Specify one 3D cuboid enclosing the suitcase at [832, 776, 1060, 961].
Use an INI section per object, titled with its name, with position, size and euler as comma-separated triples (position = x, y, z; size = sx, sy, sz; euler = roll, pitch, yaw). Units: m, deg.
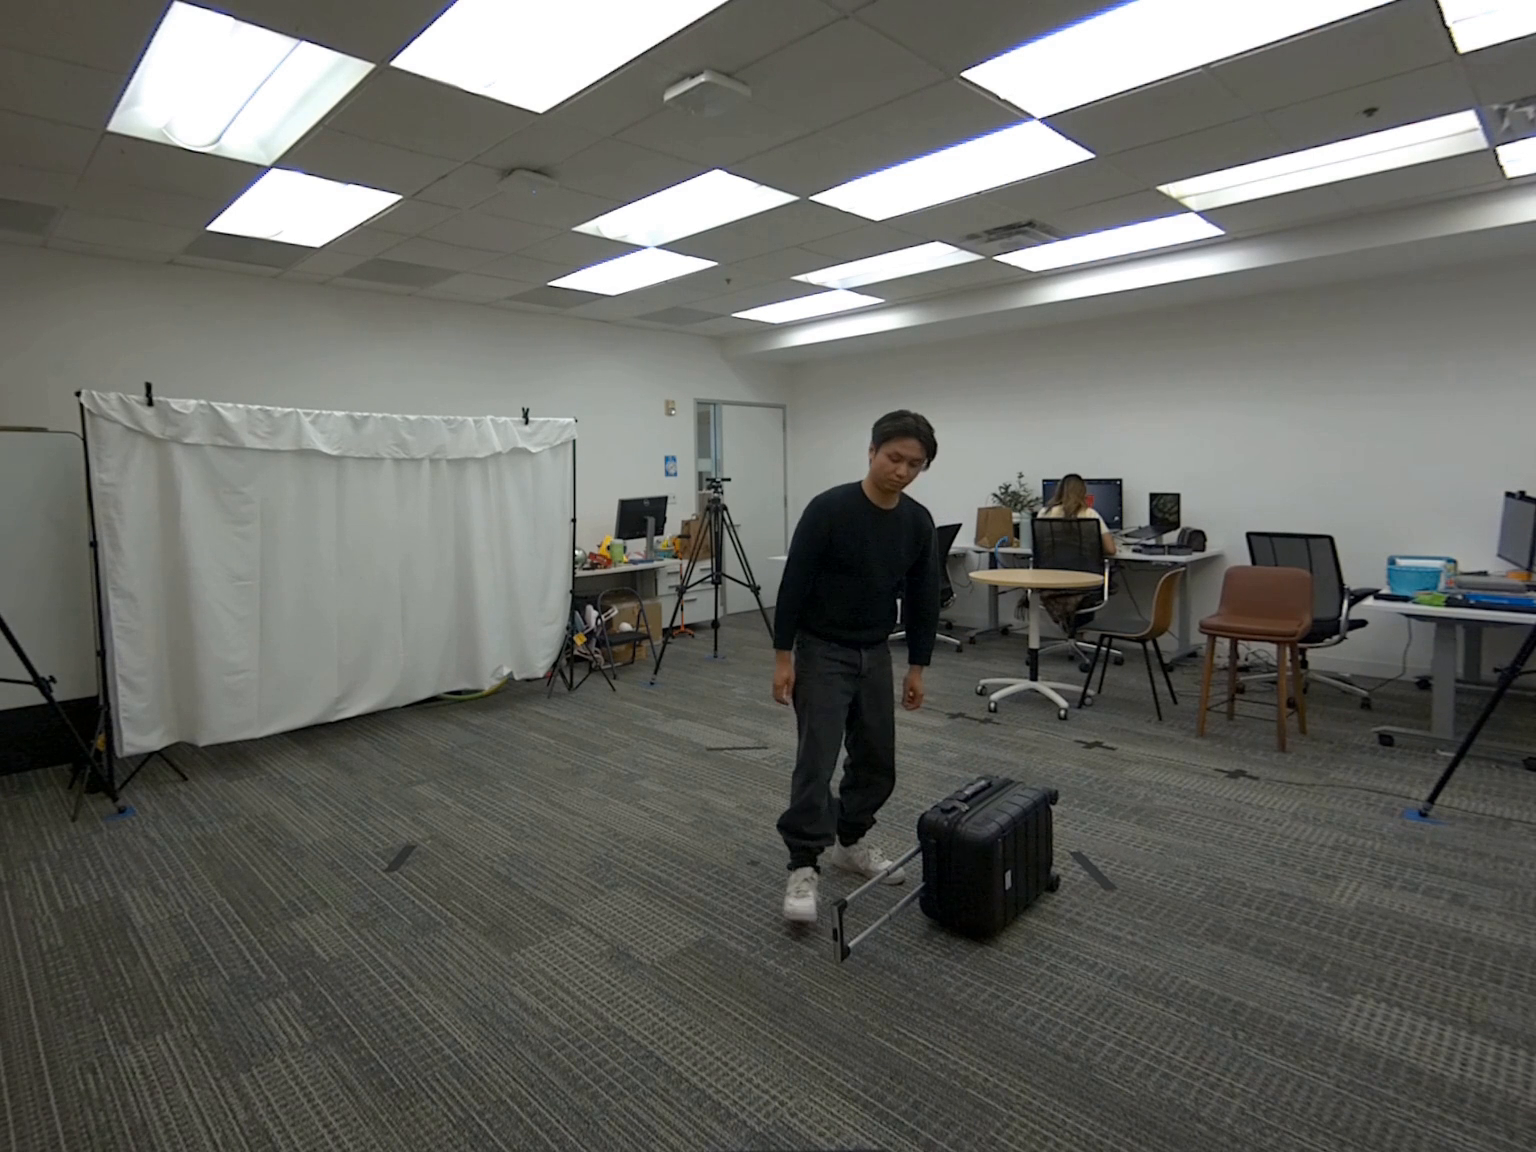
[suitcase]
position = 0.585, 0.902, 2.591
size = 0.264, 0.382, 0.954
euler = 1, 7, 40
